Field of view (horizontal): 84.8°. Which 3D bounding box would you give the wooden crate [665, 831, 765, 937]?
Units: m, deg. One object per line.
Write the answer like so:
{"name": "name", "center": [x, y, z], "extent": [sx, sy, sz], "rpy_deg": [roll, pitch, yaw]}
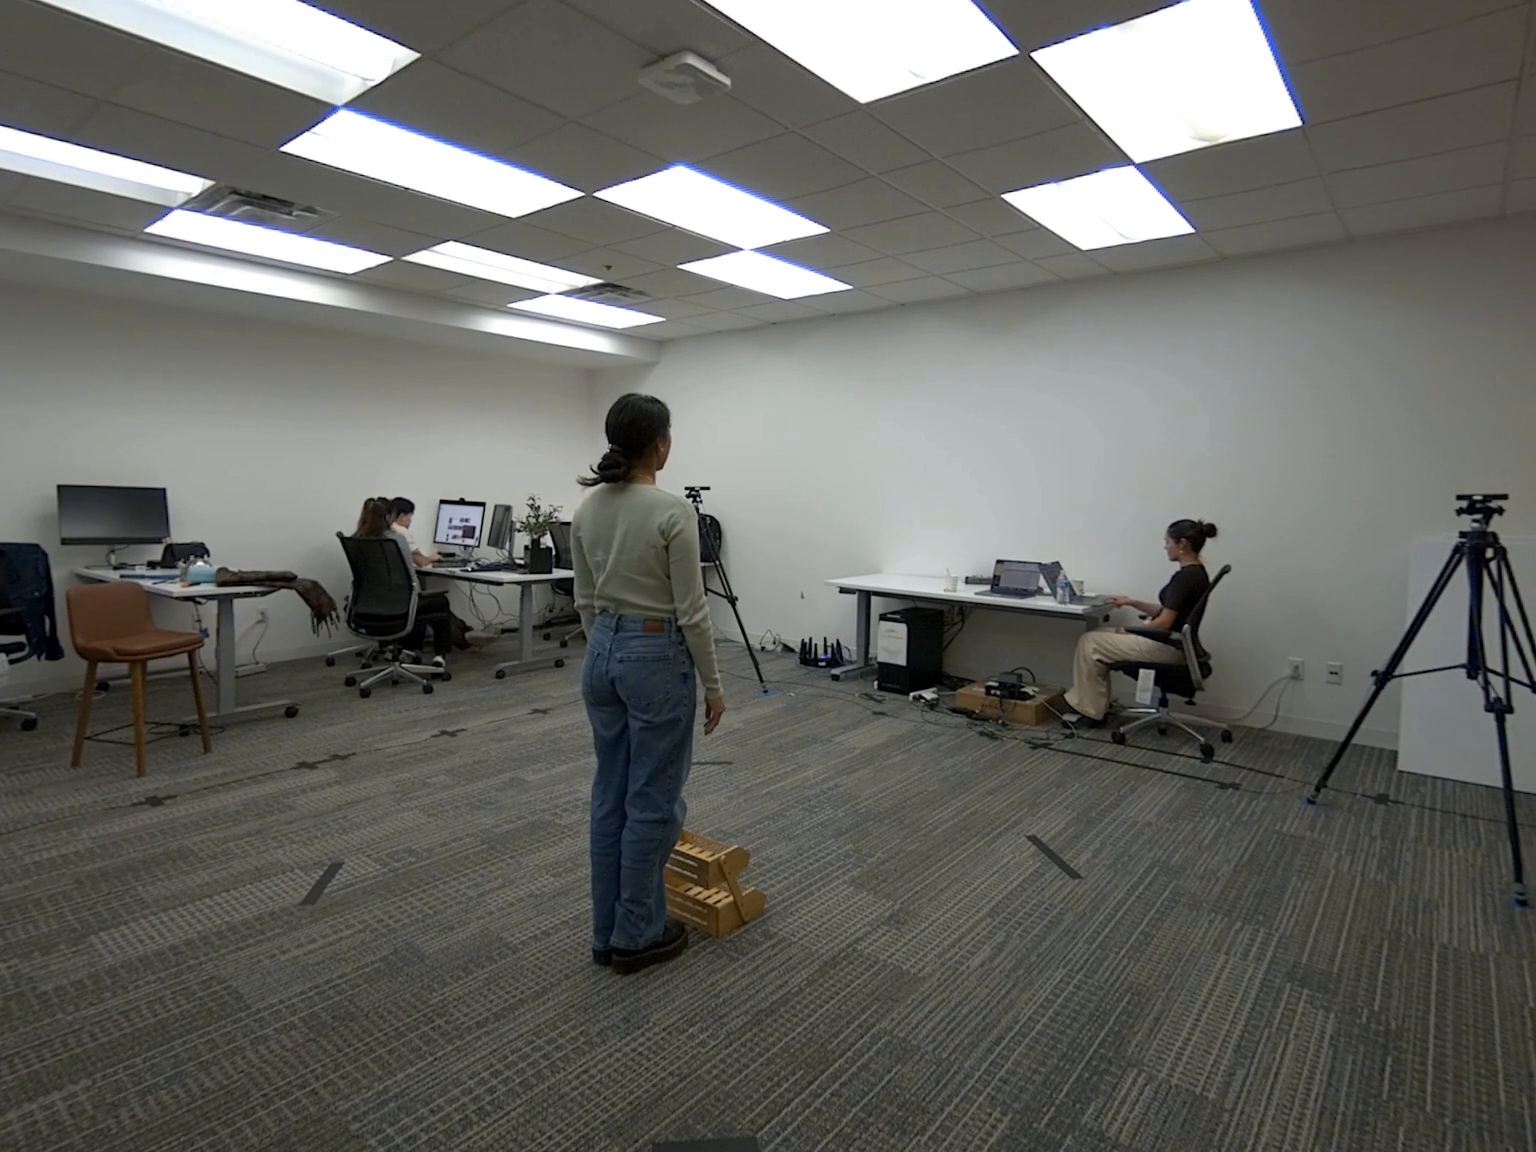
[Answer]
{"name": "wooden crate", "center": [-0.219, 0.961, 2.784], "extent": [0.335, 0.272, 0.293], "rpy_deg": [4, 6, 37]}
